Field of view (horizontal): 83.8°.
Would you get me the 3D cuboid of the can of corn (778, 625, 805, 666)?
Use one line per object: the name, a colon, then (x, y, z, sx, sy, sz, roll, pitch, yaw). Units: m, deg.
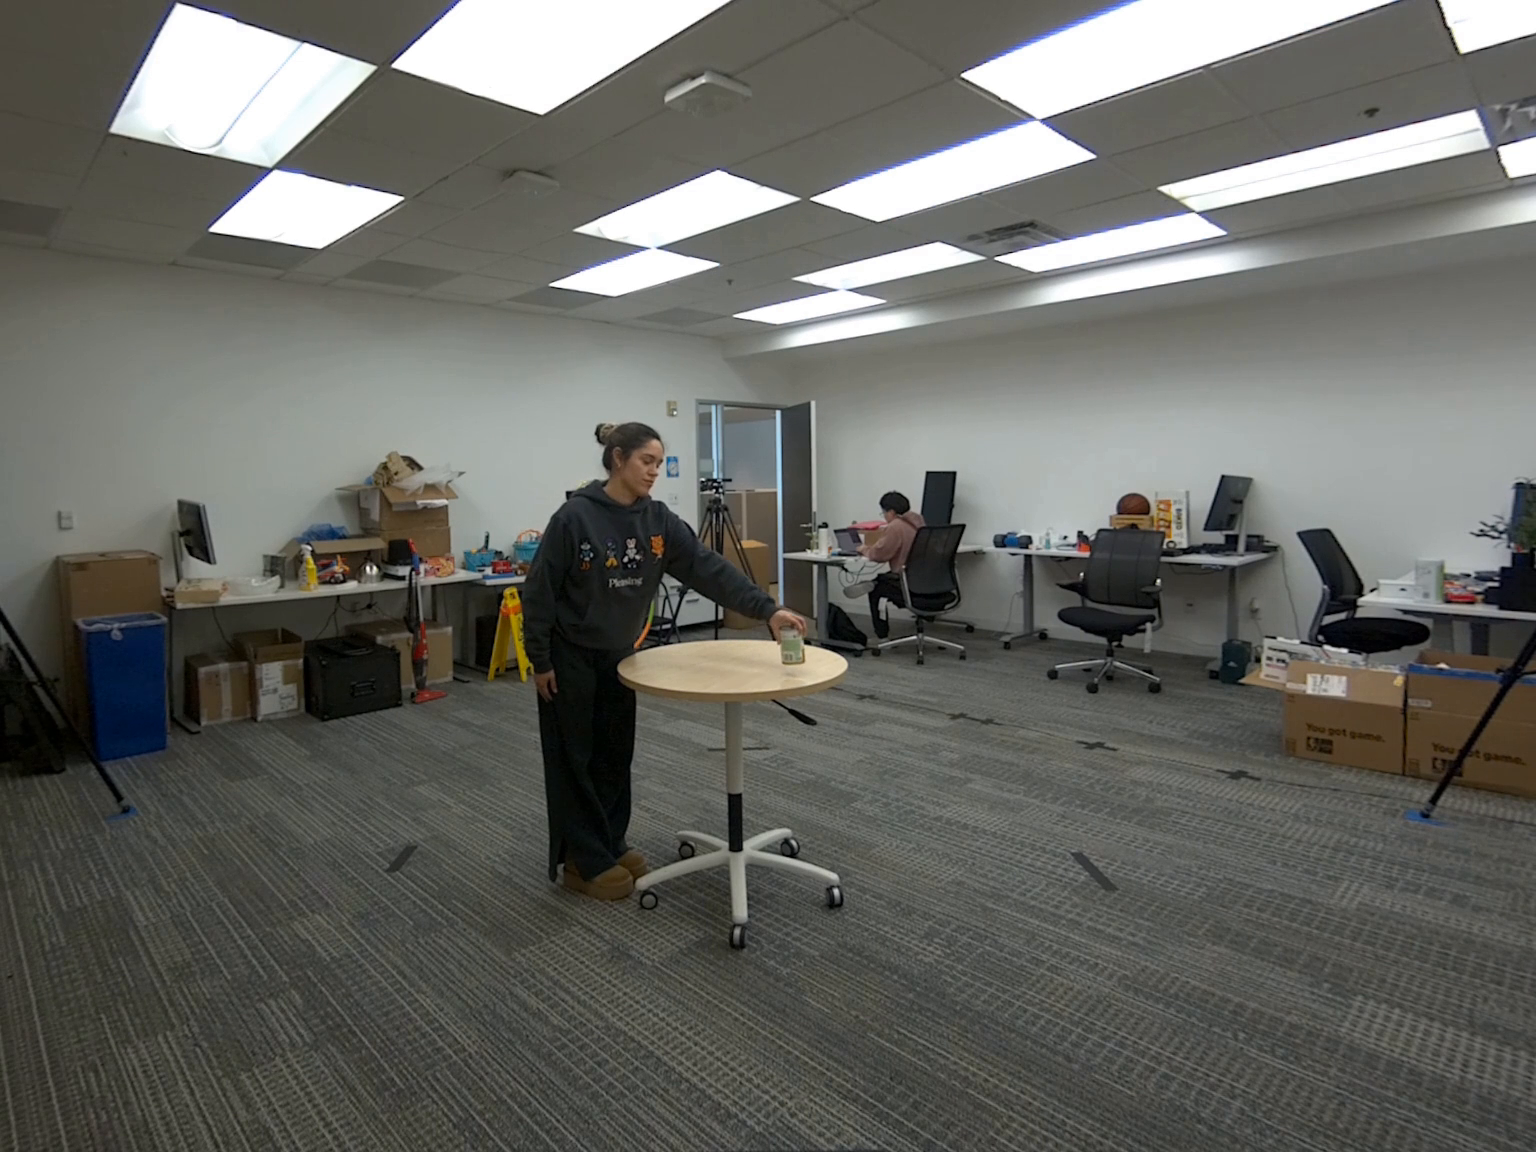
can of corn: (0.063, 0.222, 2.654, 0.074, 0.111, 0.074, -5, 3, -1)
